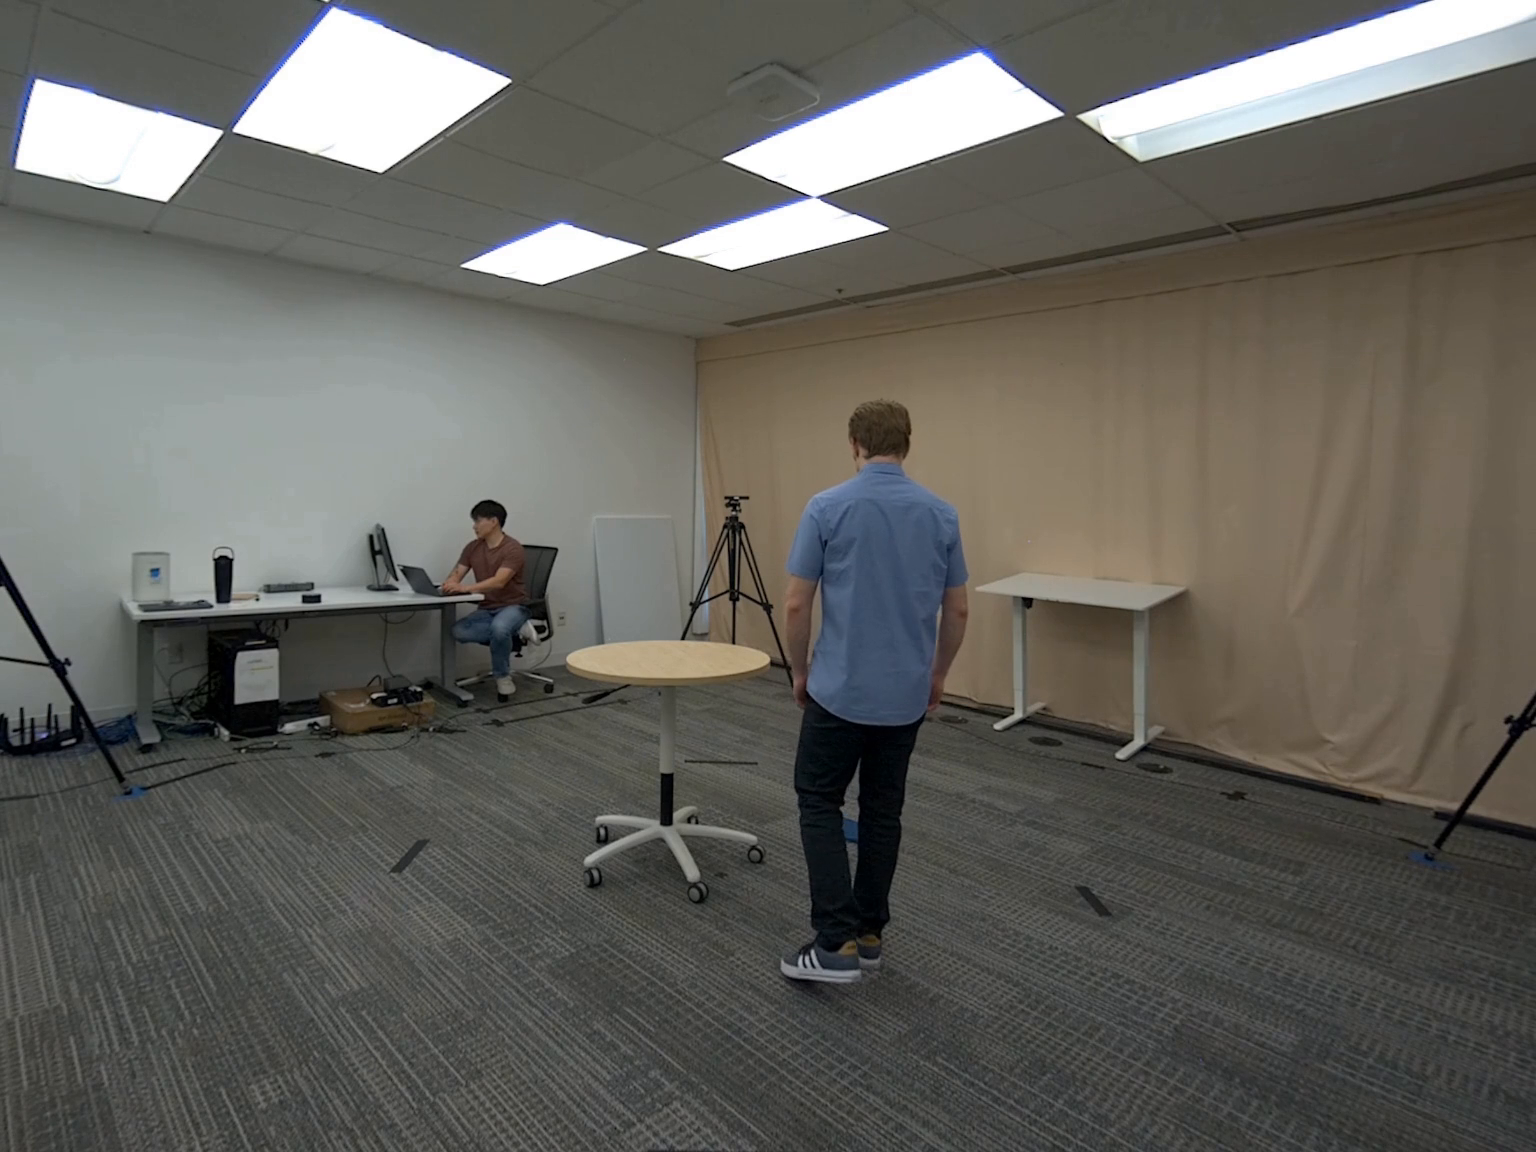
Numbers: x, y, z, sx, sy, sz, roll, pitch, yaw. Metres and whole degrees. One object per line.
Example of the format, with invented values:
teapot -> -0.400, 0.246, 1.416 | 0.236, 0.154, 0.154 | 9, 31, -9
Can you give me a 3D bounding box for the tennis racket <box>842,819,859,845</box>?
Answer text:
tennis racket -> 0.330, 1.070, 3.496 | 0.209, 0.032, 0.443 | -1, 4, -31
